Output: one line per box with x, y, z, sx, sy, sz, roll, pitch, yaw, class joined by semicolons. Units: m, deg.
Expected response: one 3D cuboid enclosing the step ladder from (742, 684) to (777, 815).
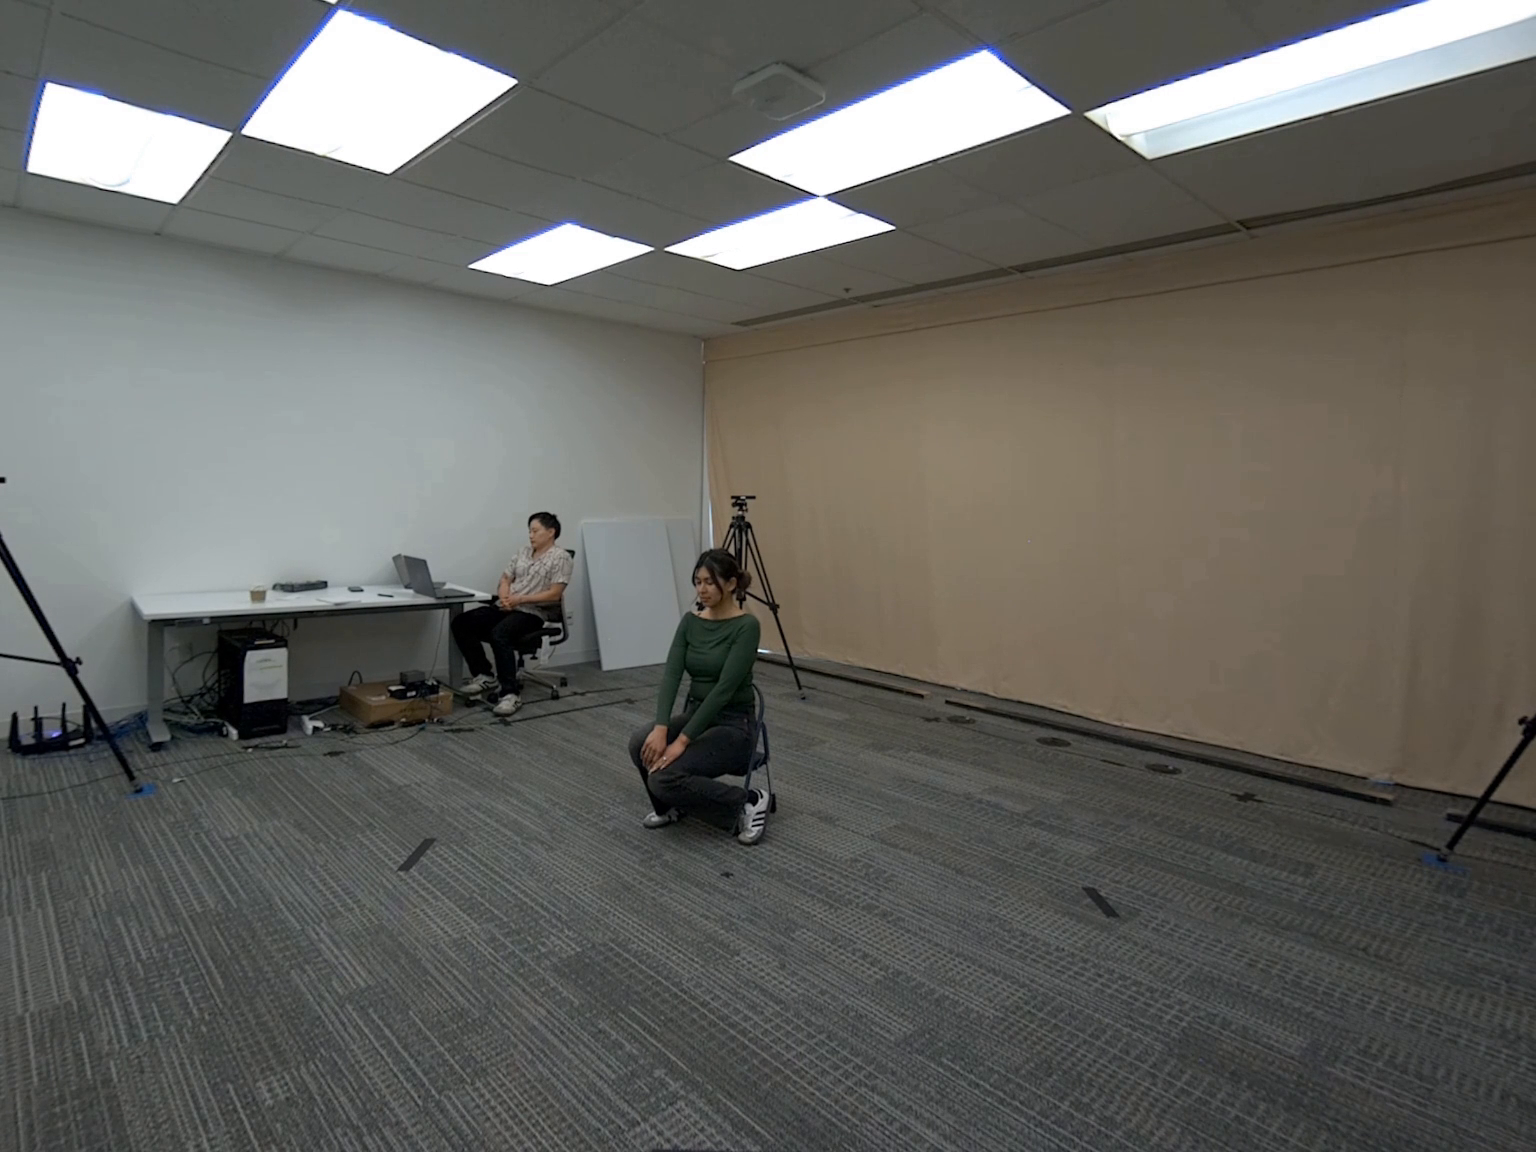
-0.218;0.753;3.702;0.440;0.605;0.342;4;4;30;step ladder
